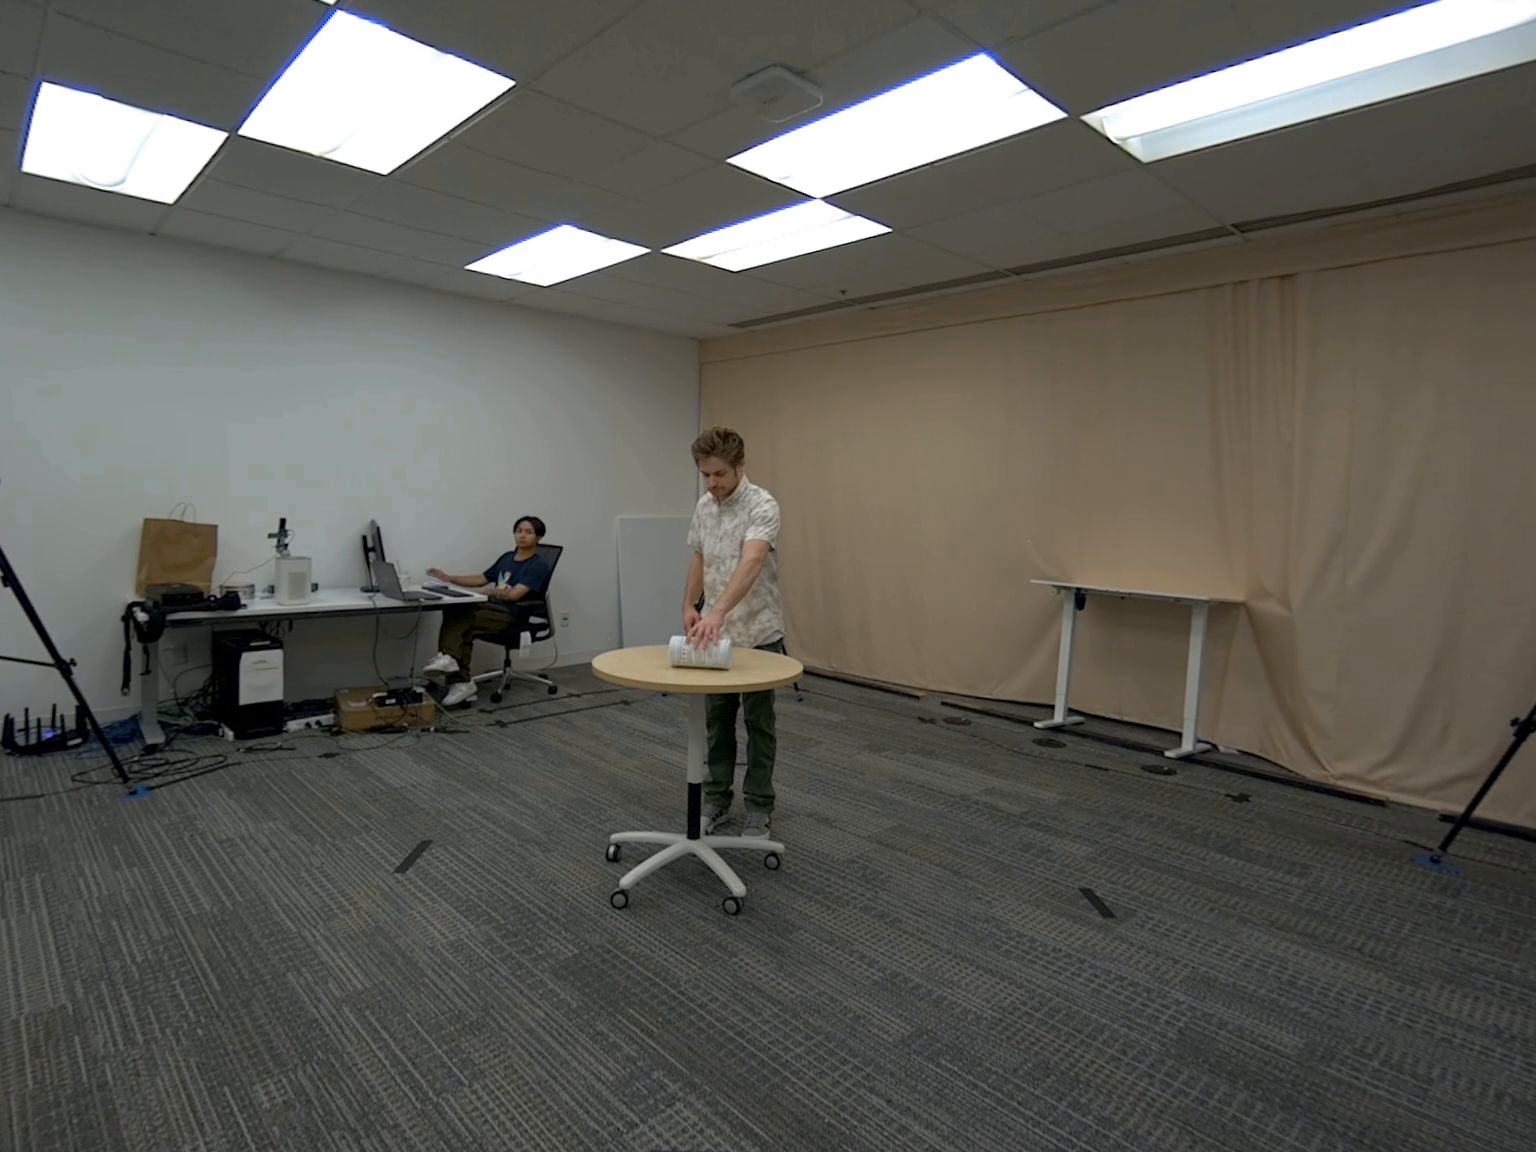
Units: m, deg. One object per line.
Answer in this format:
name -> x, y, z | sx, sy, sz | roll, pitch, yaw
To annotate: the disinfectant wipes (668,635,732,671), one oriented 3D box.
disinfectant wipes -> -0.251, 0.270, 2.969 | 0.218, 0.117, 0.118 | 1, 4, 4
